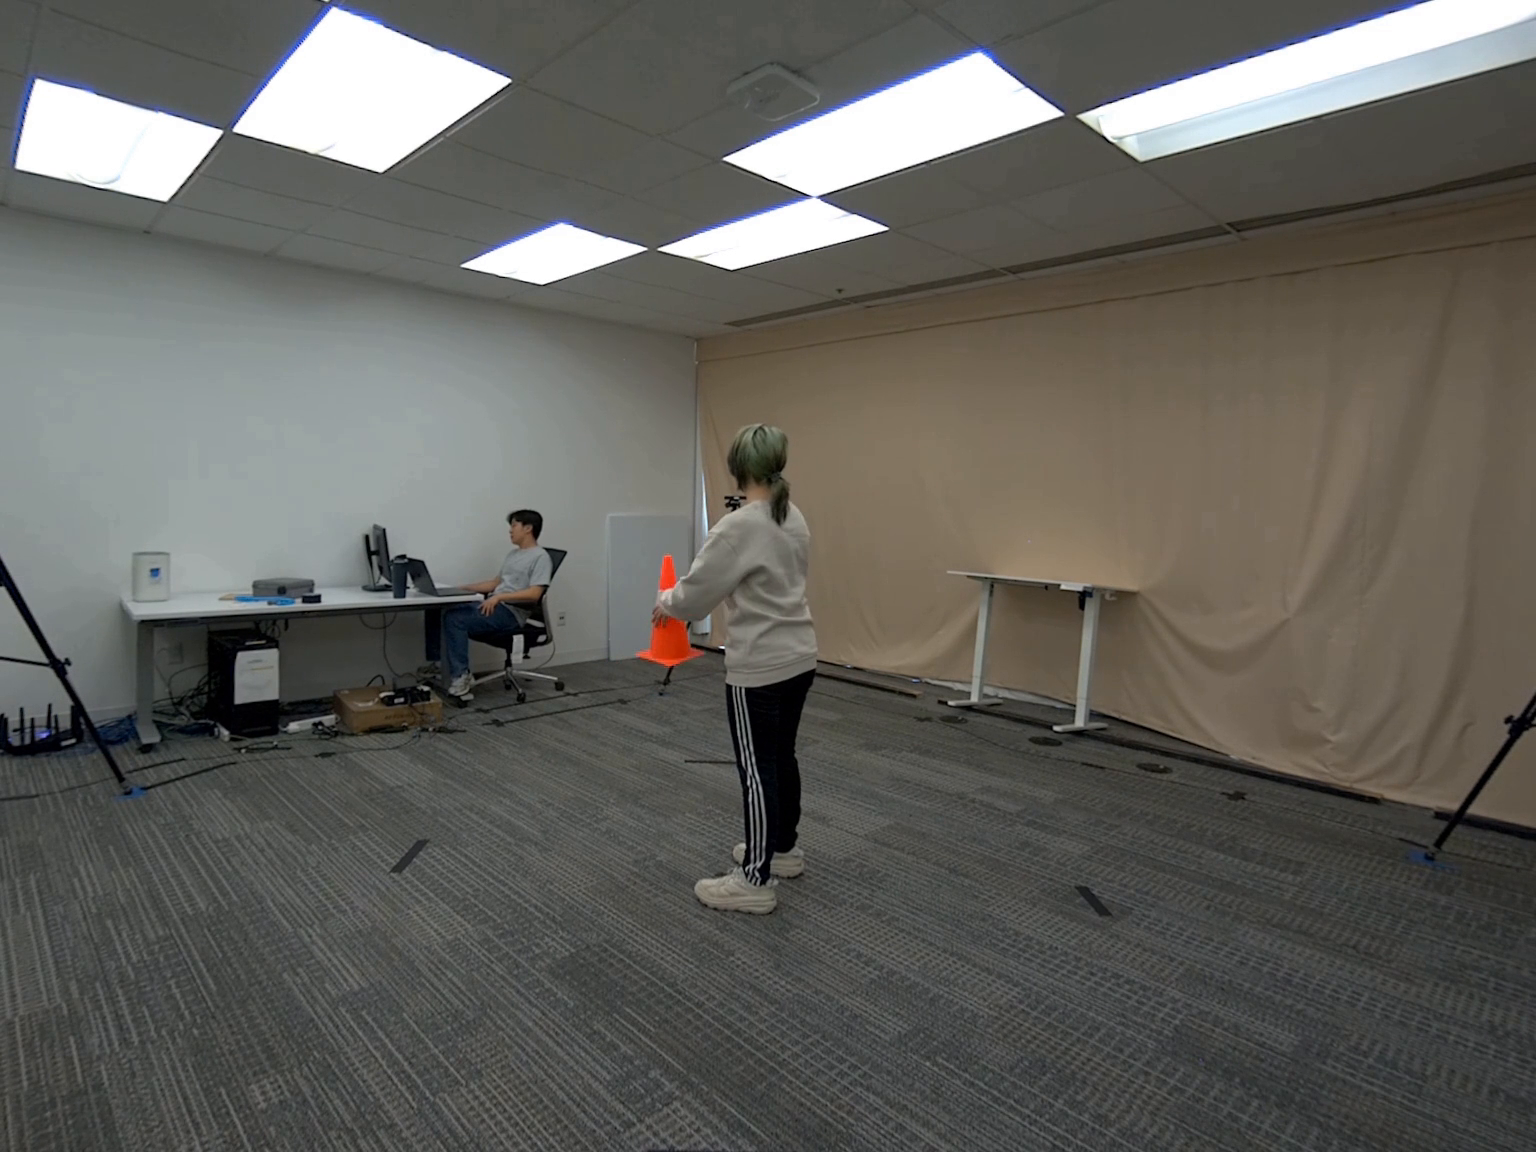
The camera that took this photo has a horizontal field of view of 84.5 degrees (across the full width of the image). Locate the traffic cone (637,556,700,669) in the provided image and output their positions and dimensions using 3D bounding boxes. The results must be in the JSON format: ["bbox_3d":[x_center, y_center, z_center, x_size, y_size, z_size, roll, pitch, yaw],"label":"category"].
[{"bbox_3d":[-0.361,0.101,3.161,0.201,0.381,0.209,-8,13,-43],"label":"traffic cone"}]
